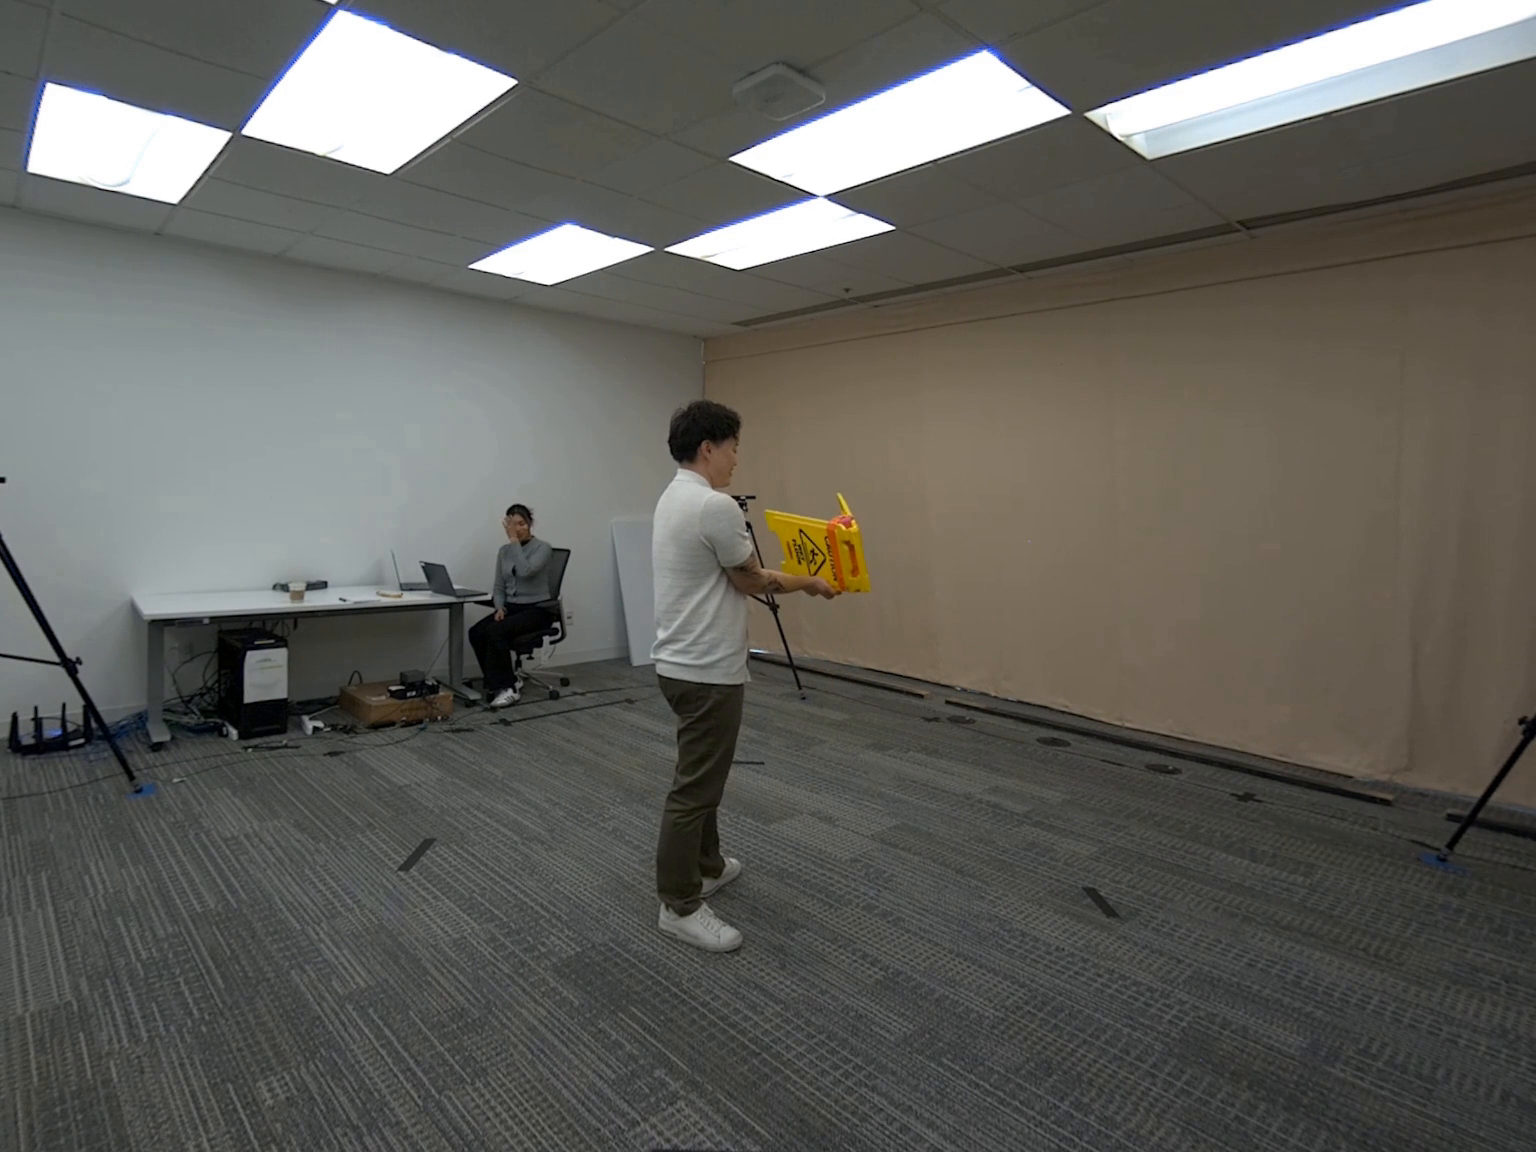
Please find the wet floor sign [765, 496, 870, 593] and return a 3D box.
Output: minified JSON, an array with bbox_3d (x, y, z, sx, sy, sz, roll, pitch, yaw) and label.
[{"bbox_3d":[0.215,-0.088,2.829,0.288,0.280,0.654,-15,11,-7],"label":"wet floor sign"}]
